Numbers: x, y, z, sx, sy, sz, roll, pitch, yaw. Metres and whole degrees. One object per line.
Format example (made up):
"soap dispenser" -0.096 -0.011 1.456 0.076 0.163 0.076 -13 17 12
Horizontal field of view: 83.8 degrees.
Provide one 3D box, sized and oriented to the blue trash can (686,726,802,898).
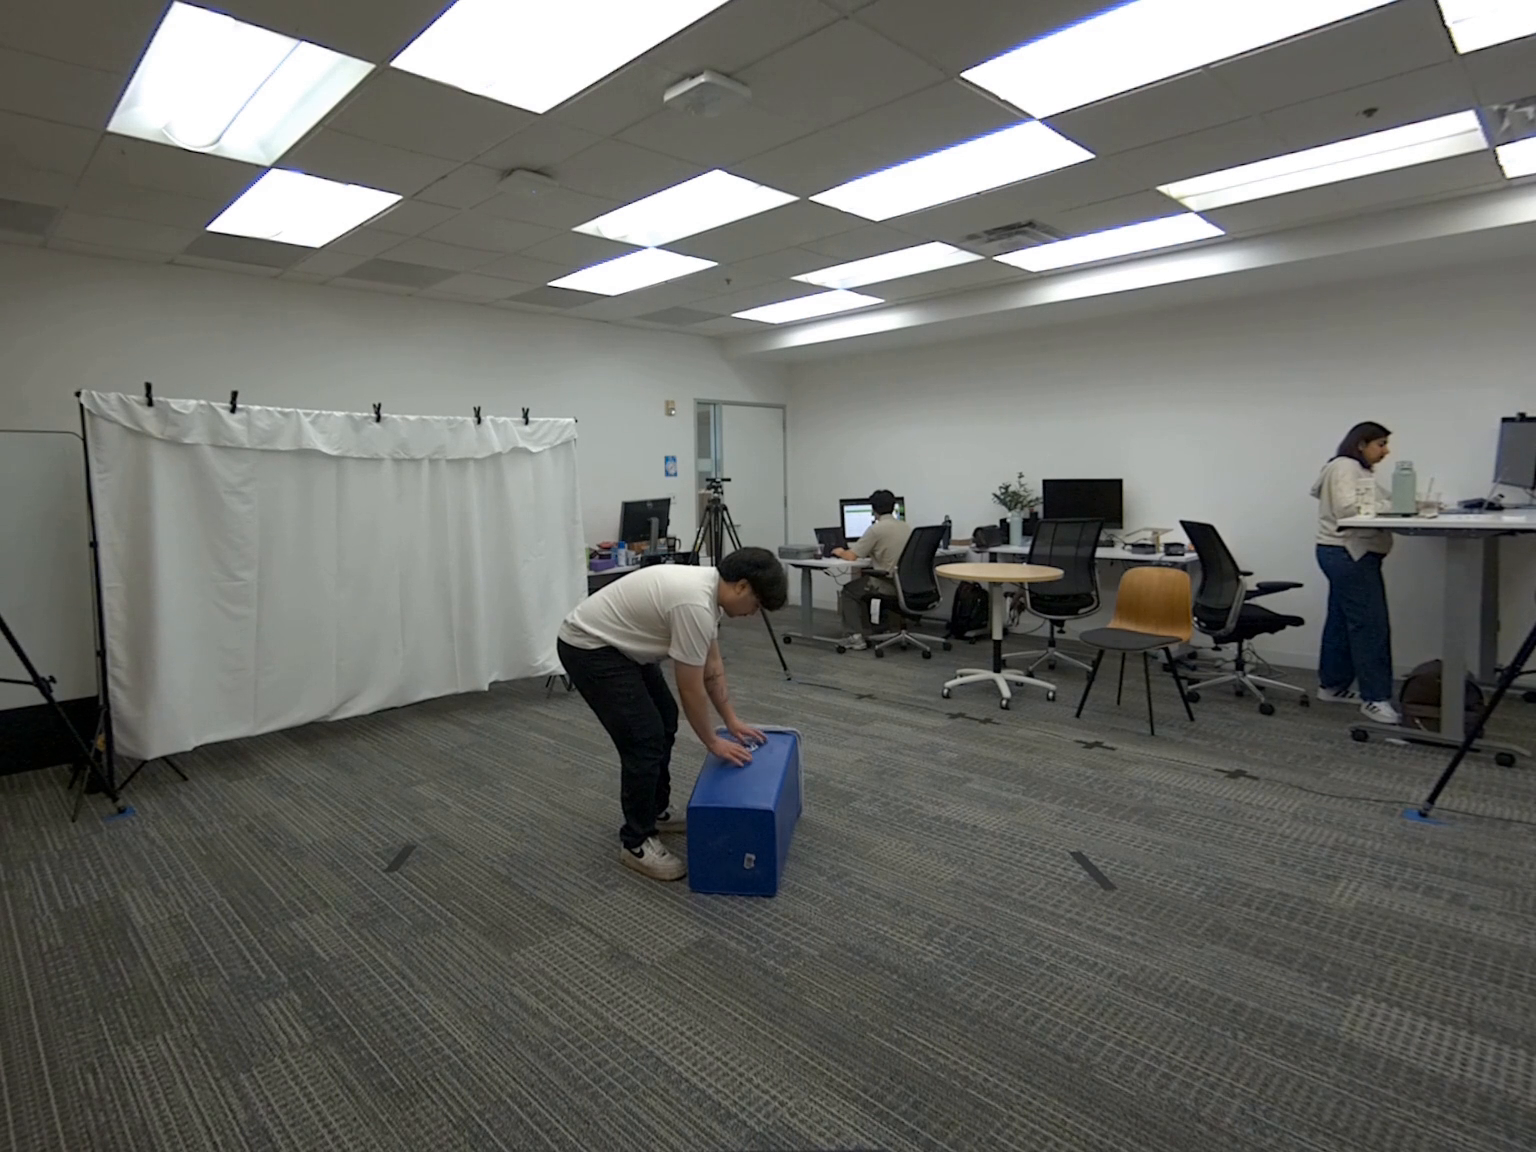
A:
"blue trash can" -0.078 0.860 3.202 0.377 0.375 0.713 0 8 6
